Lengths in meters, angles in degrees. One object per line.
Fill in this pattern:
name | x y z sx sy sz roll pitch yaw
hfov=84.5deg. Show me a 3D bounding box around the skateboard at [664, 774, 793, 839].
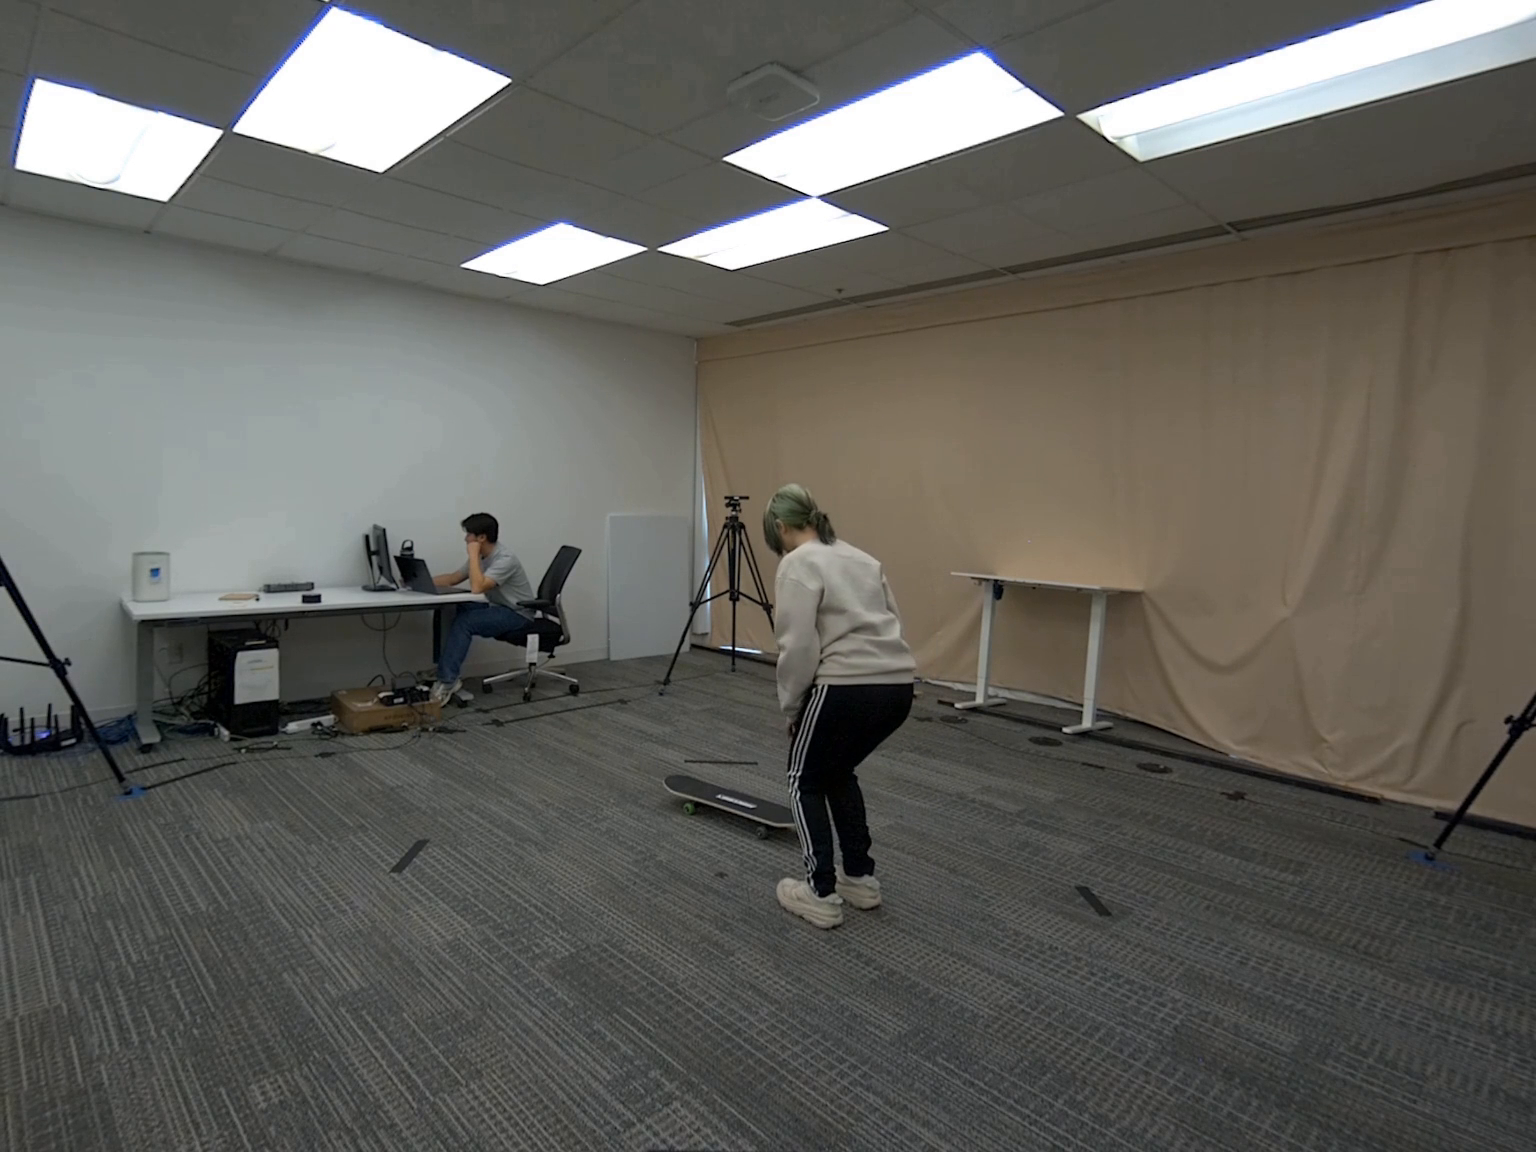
skateboard | -0.145 1.003 3.635 0.805 0.110 0.189 6 6 37
